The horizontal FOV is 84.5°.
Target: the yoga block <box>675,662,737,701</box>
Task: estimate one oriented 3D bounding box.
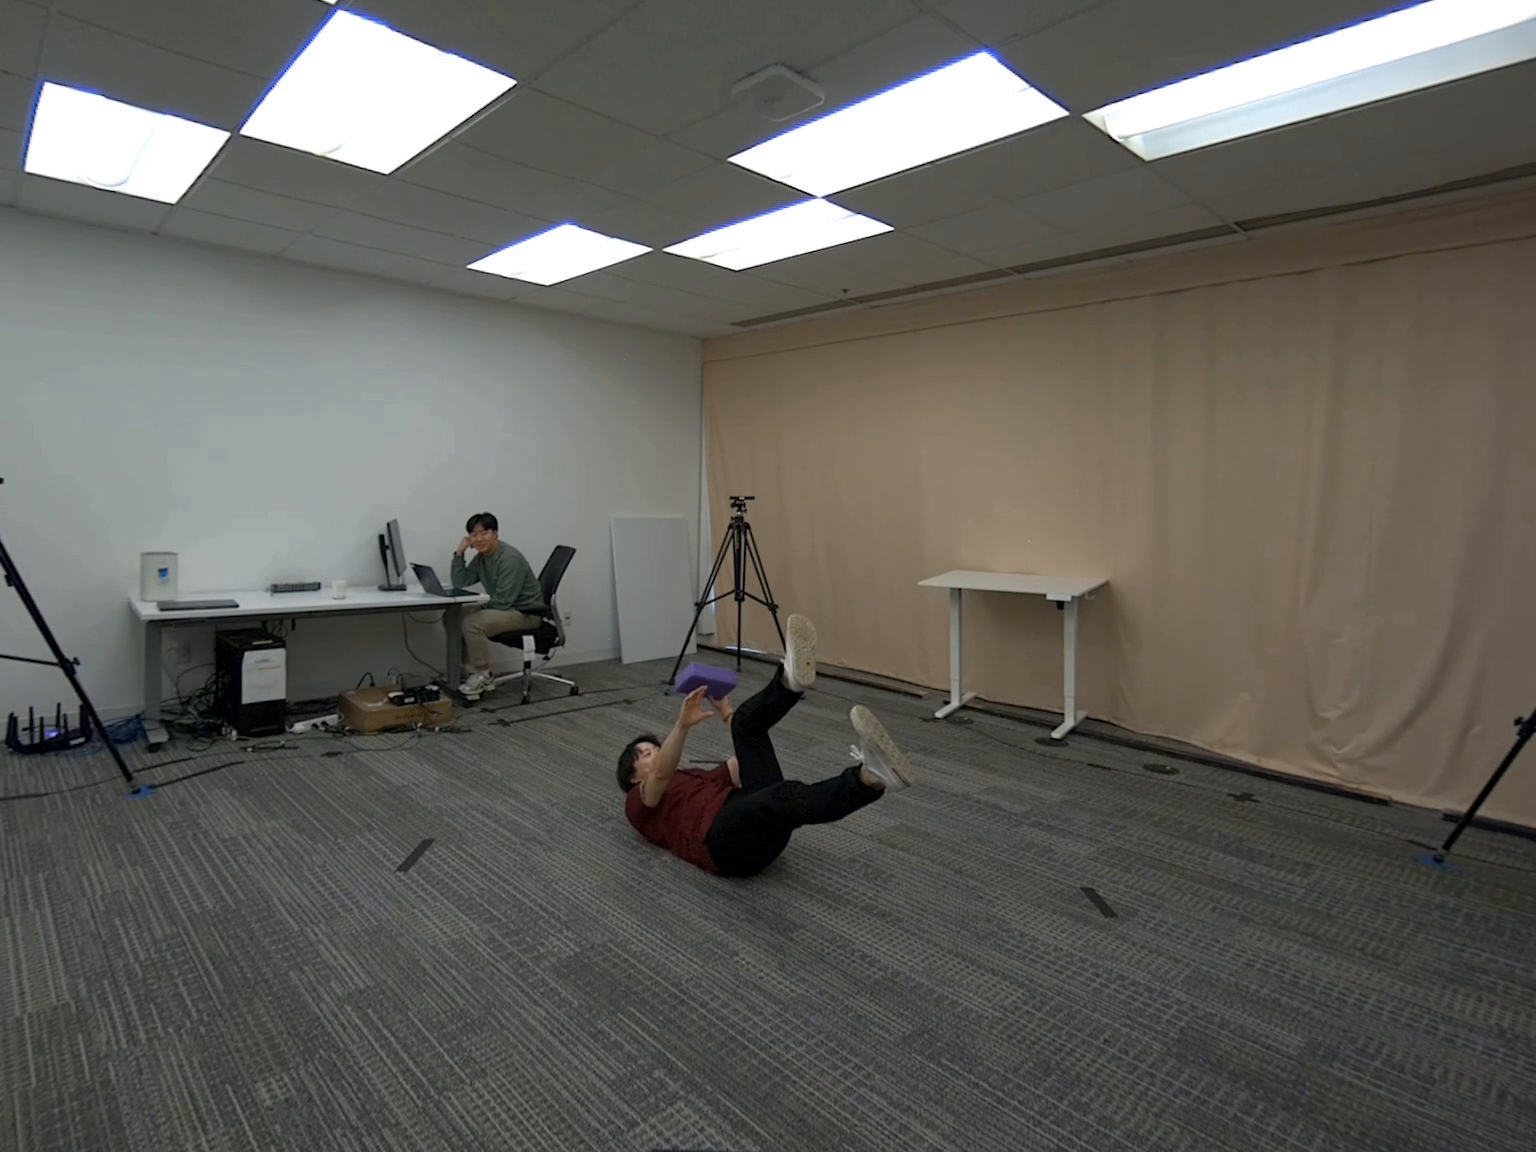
[{"bbox_3d":[-0.275,0.451,3.613,0.224,0.078,0.149,15,-41,-28],"label":"yoga block"}]
